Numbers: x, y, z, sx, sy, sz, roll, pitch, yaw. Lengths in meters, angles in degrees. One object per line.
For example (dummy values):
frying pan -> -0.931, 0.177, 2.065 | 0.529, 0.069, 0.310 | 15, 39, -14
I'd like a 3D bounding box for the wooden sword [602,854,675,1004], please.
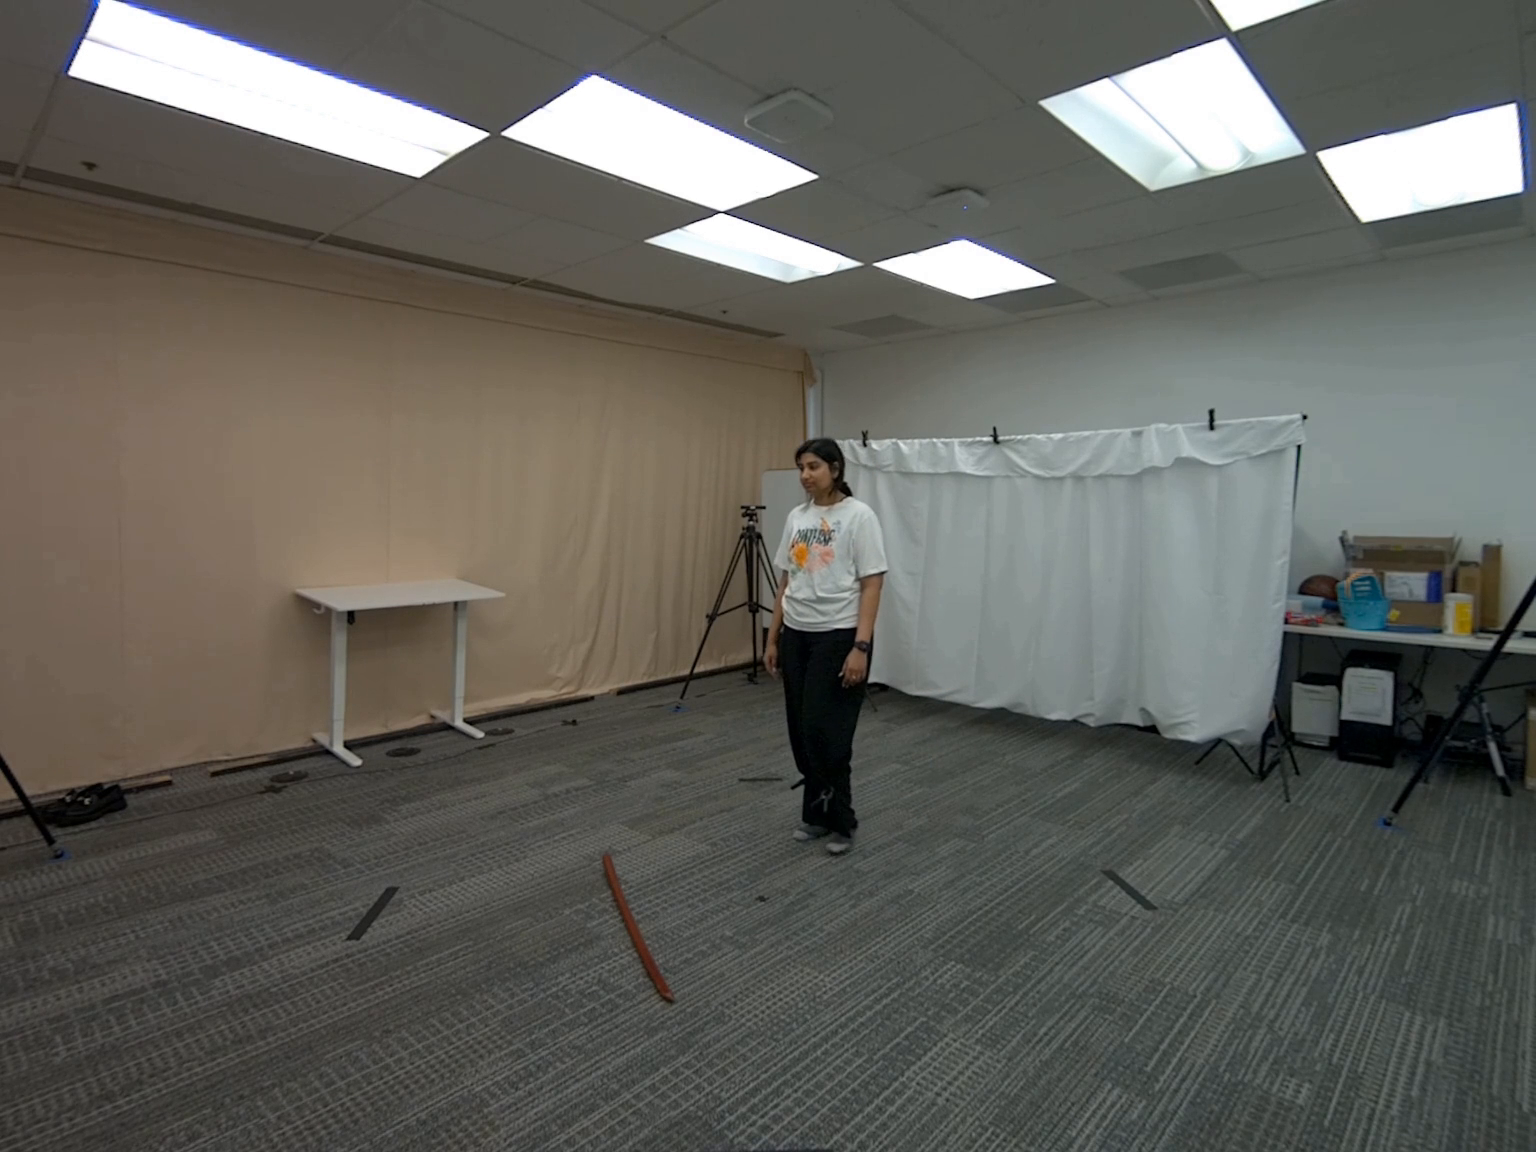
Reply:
wooden sword -> -0.455, 1.139, 2.840 | 0.050, 0.024, 1.047 | 2, 4, -20
